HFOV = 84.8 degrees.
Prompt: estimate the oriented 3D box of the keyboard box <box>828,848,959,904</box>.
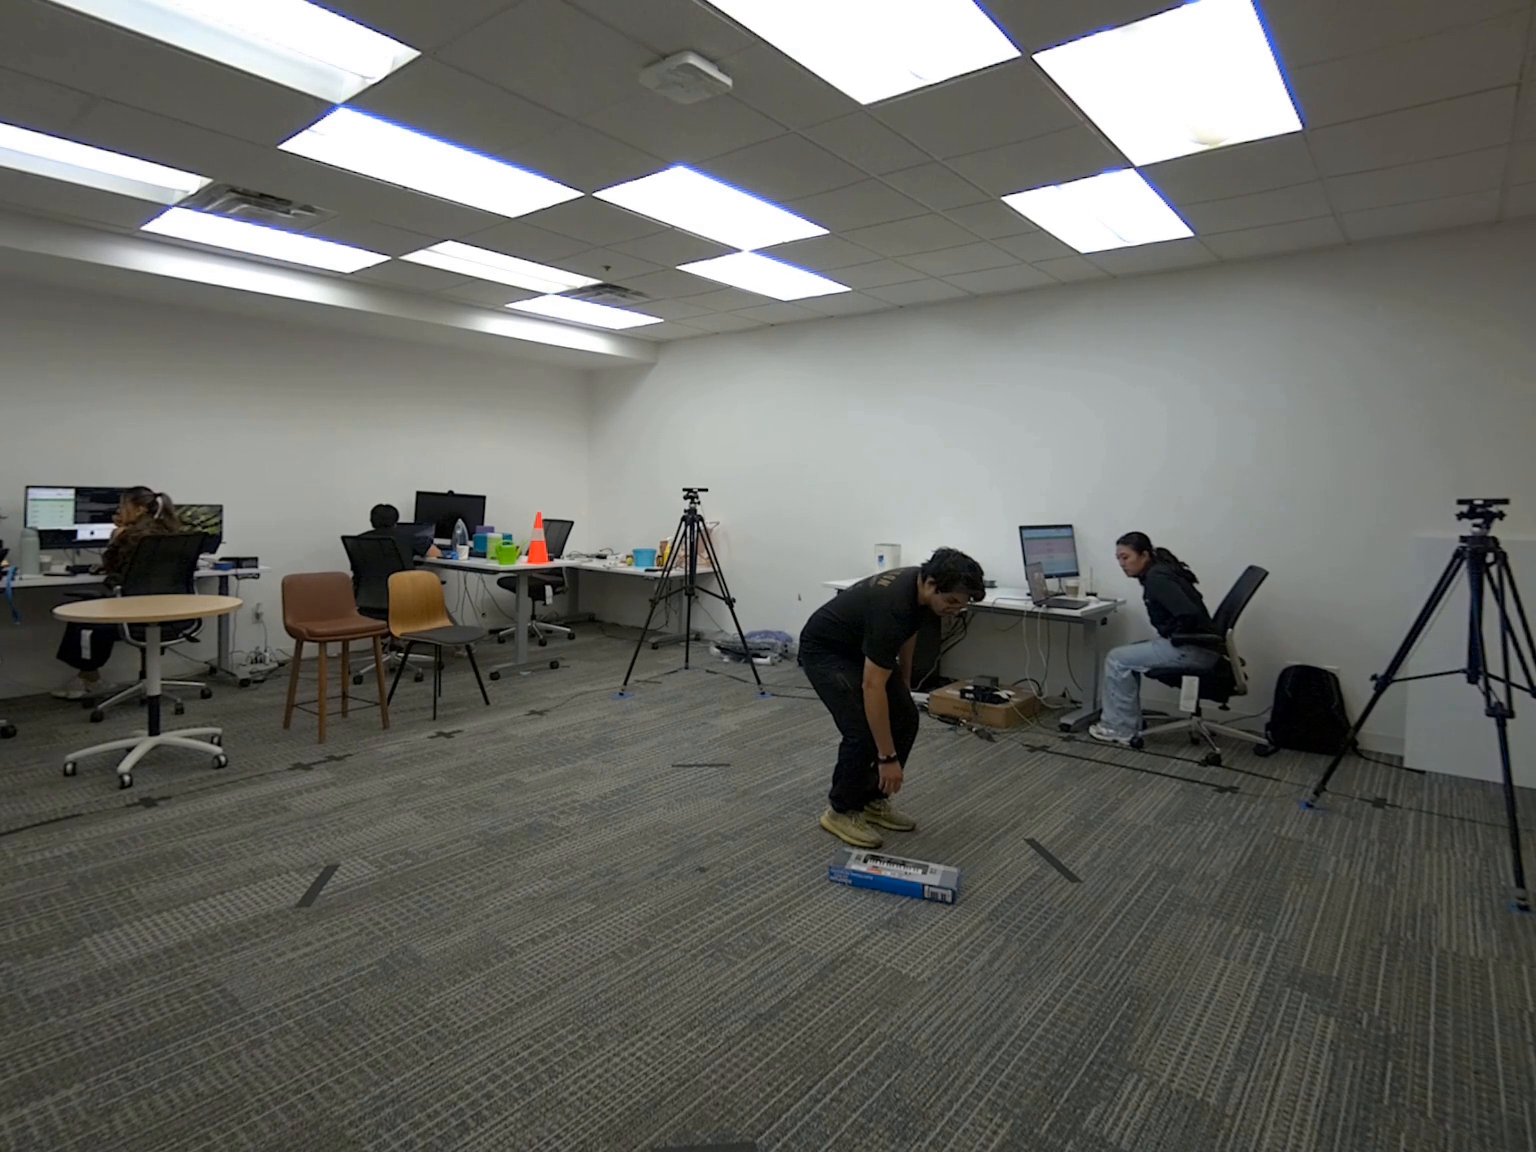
[{"bbox_3d":[0.445,1.062,3.034,0.447,0.059,0.173,4,7,21],"label":"keyboard box"}]
